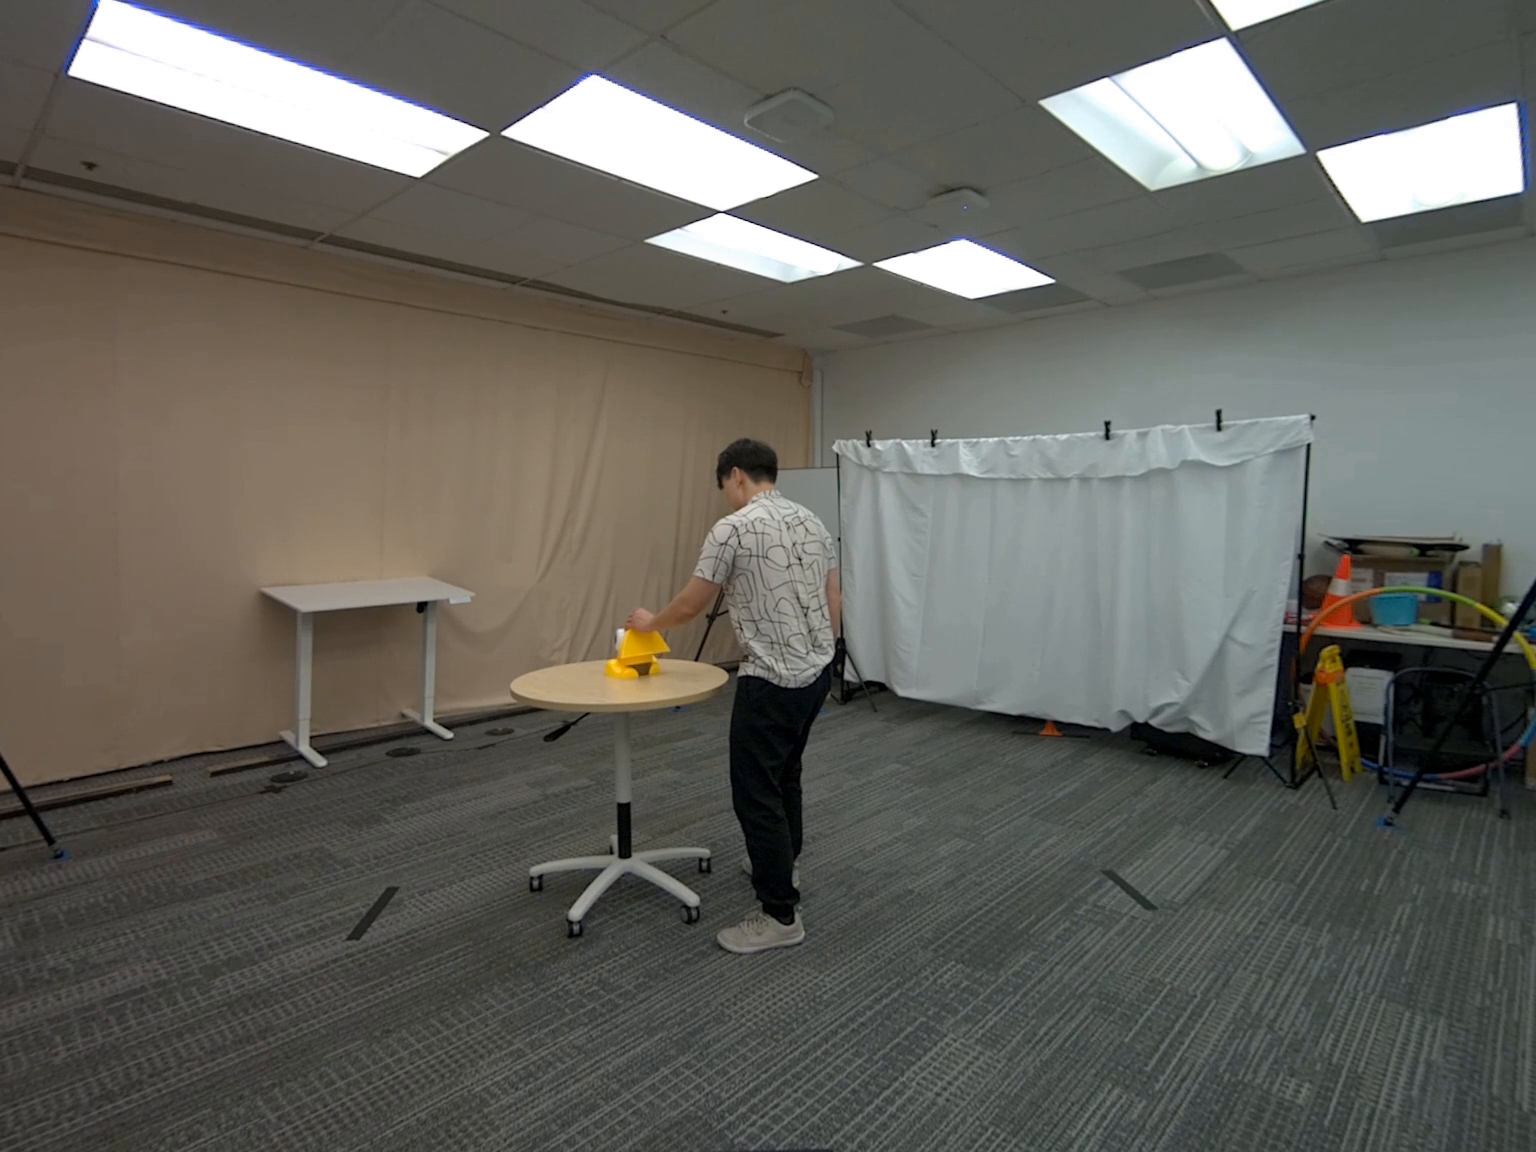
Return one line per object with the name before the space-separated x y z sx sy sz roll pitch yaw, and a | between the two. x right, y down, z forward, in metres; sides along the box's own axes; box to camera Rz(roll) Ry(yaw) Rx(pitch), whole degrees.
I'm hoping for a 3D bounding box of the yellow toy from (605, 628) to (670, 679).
yellow toy | -0.492 0.243 3.084 0.198 0.230 0.199 -3 4 -40
